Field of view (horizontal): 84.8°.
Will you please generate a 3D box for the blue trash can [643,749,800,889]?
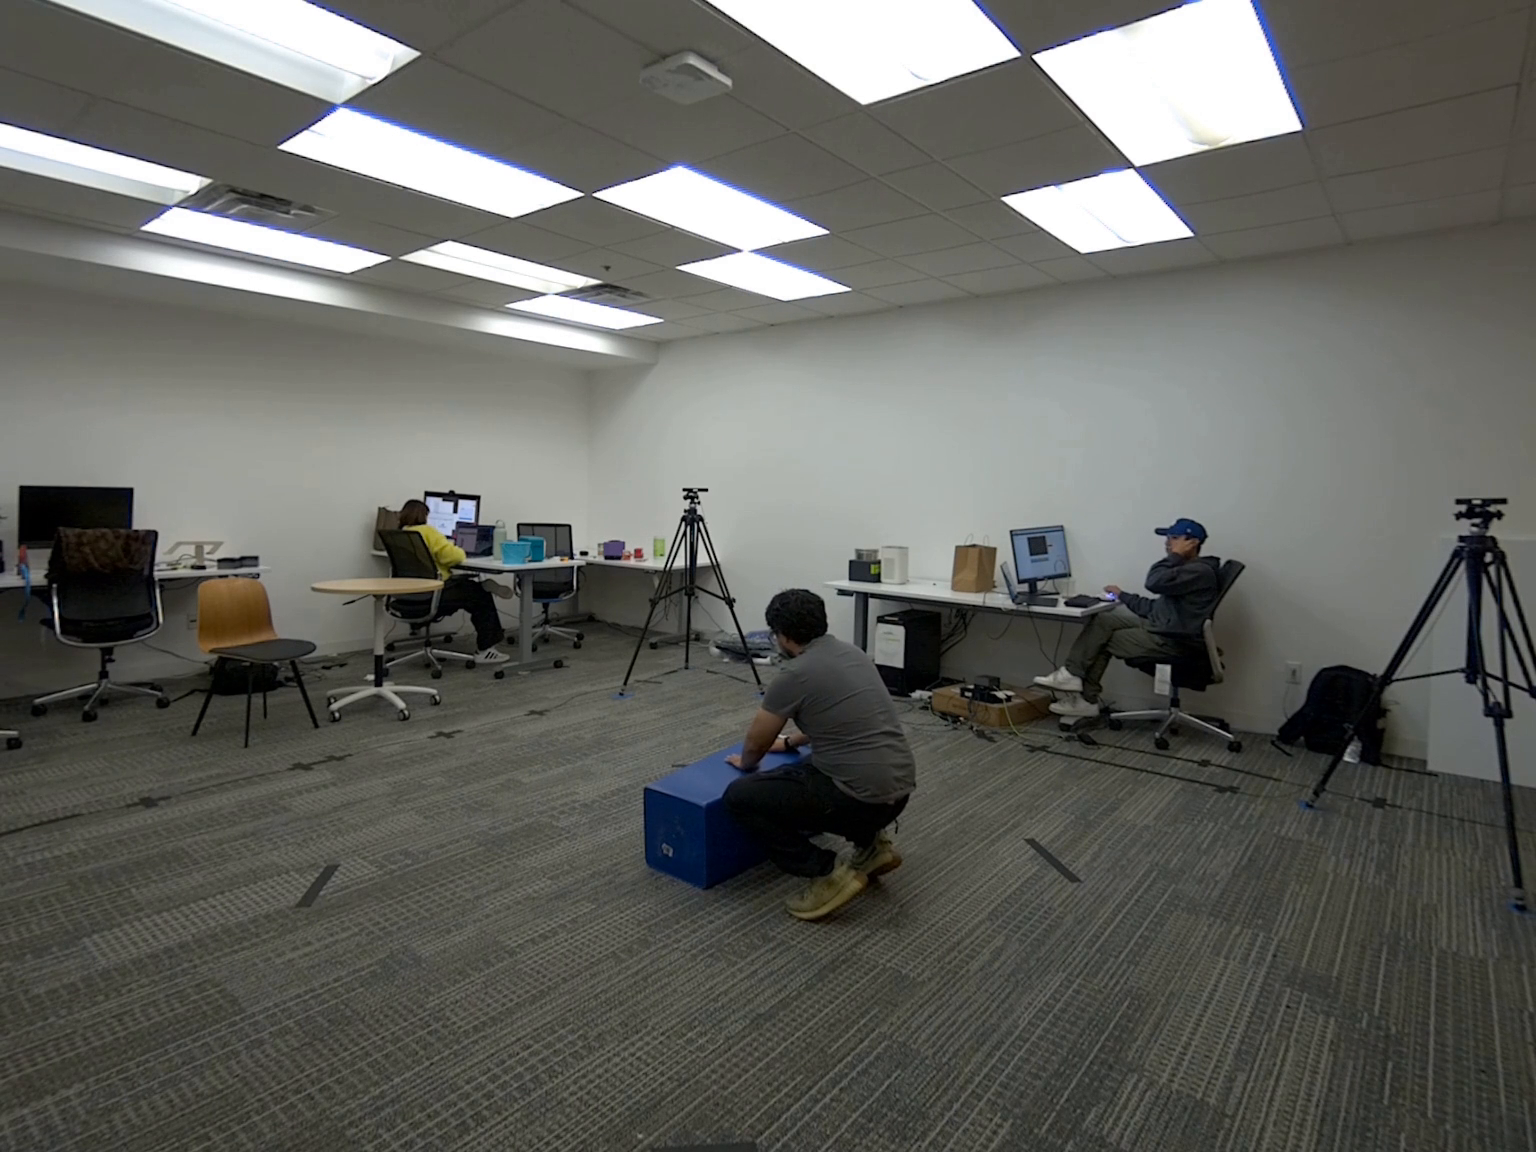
[{"bbox_3d":[-0.137,0.881,3.294,0.387,0.376,0.694,5,8,39],"label":"blue trash can"}]
